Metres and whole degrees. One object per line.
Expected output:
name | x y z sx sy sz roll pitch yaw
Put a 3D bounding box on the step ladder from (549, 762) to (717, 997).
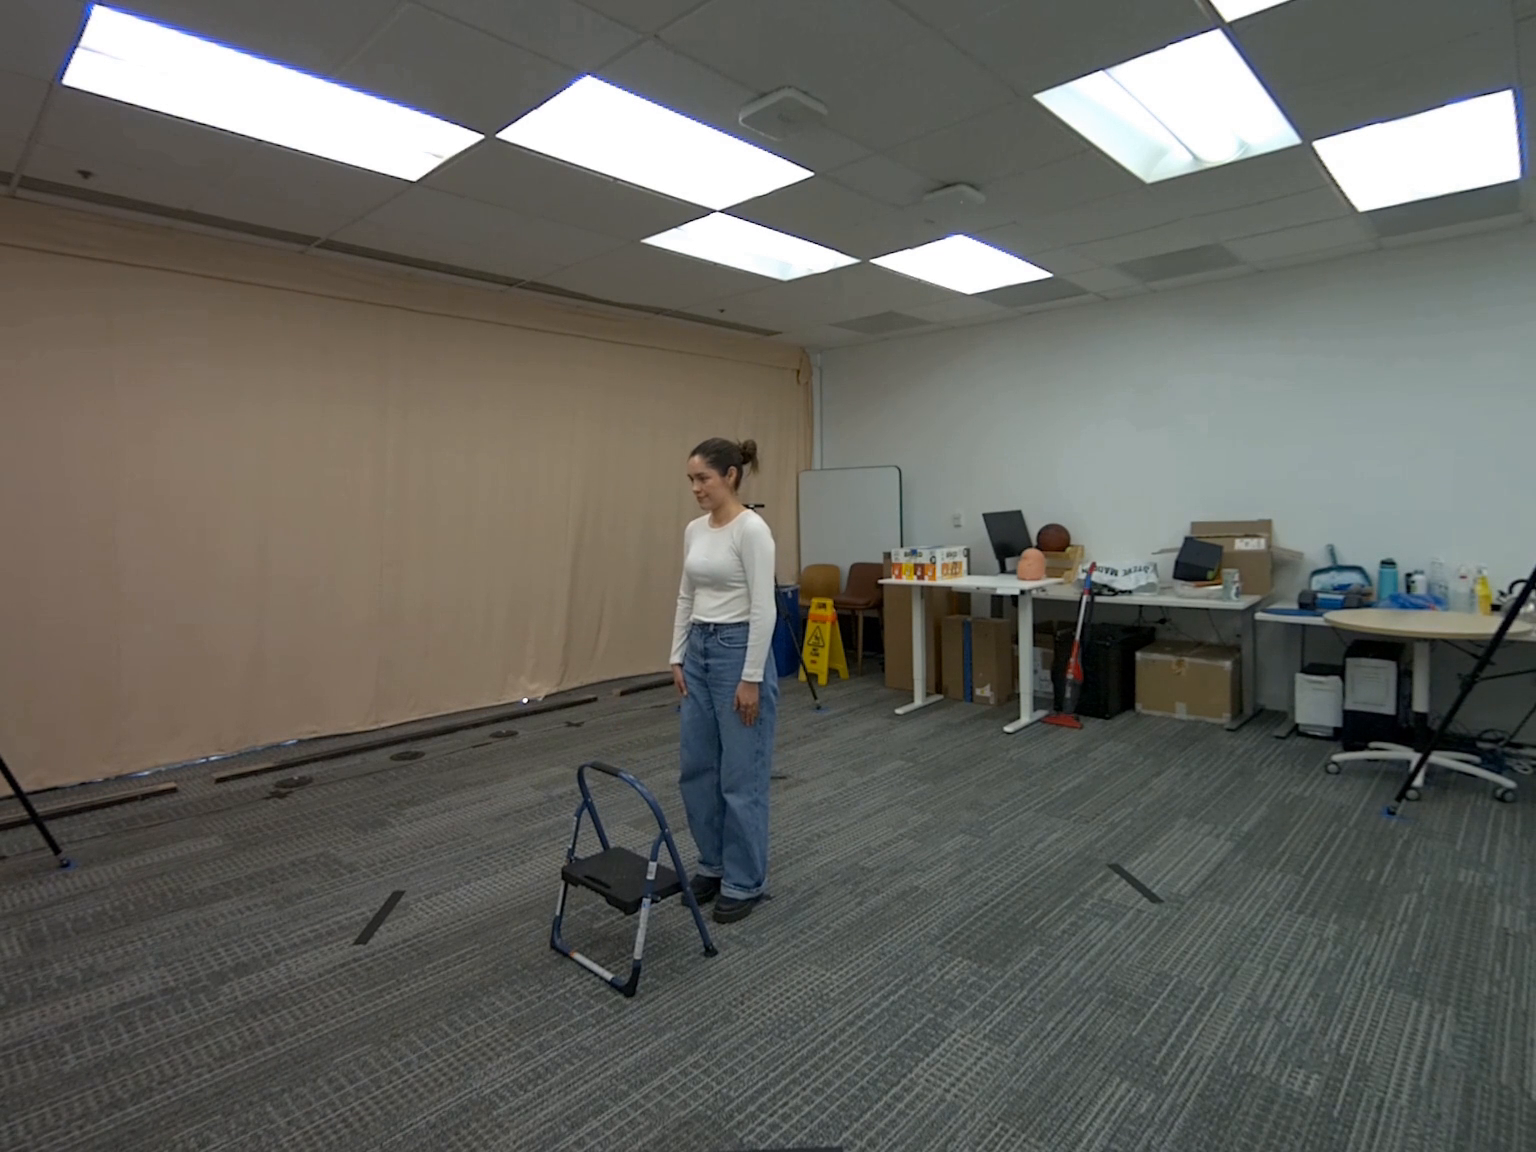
step ladder | -0.432 0.877 2.634 0.445 0.605 0.338 2 4 43
